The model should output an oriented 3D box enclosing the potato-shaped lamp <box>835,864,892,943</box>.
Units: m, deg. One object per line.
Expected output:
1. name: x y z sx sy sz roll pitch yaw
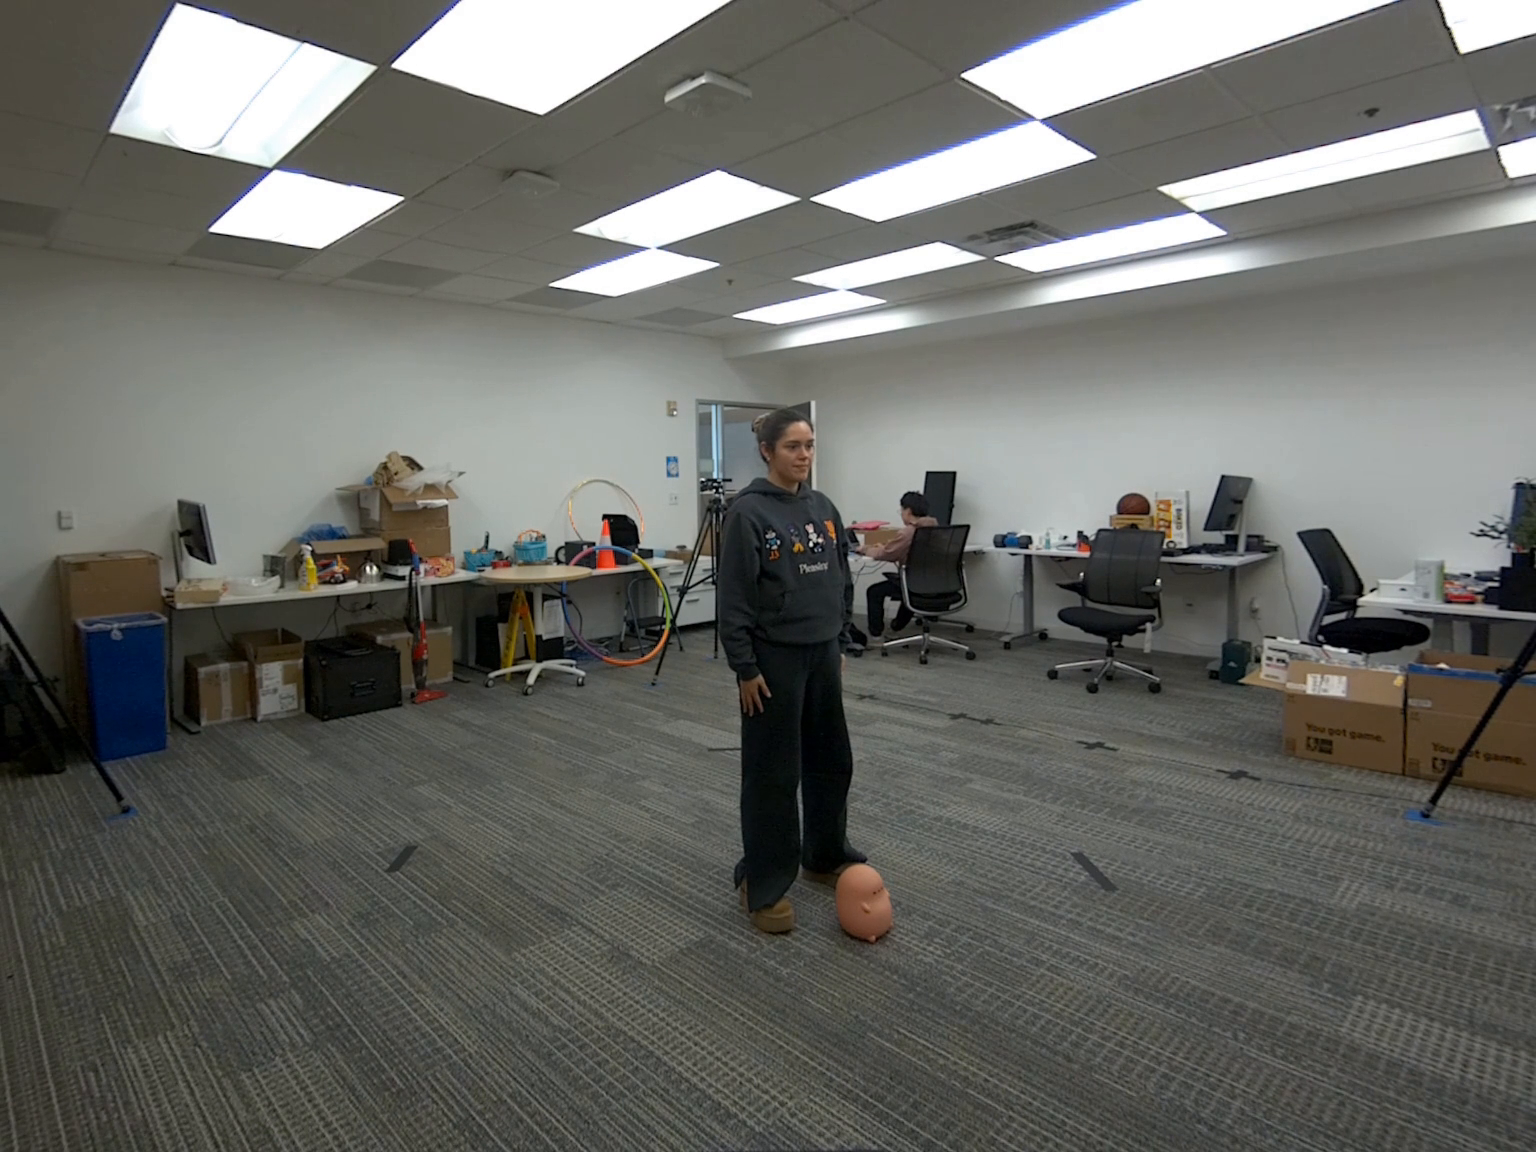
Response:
1. potato-shaped lamp: 0.298 0.993 2.618 0.176 0.197 0.160 0 6 45
